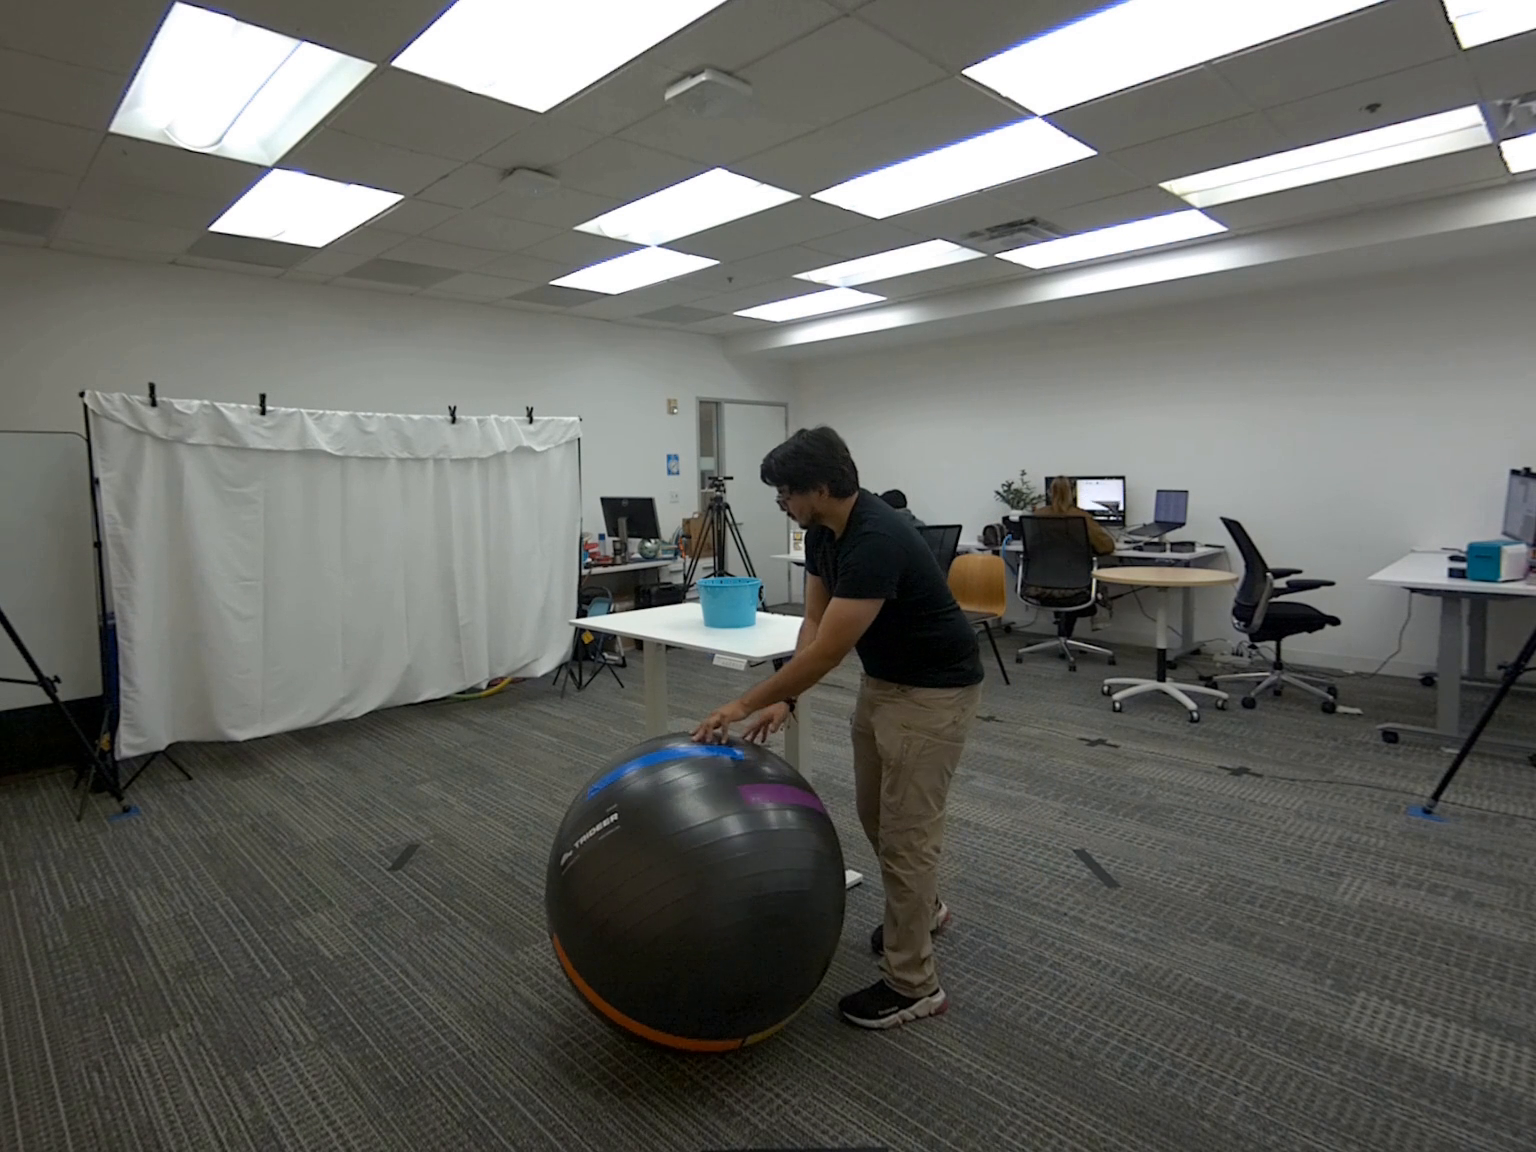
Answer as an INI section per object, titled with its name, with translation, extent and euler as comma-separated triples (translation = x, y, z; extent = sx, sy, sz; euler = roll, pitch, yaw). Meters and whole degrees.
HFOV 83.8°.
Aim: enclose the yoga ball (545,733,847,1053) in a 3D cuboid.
[yoga ball]
translation = -0.180, 0.788, 2.163
extent = 0.757, 0.755, 0.762
euler = -1, 5, -2
